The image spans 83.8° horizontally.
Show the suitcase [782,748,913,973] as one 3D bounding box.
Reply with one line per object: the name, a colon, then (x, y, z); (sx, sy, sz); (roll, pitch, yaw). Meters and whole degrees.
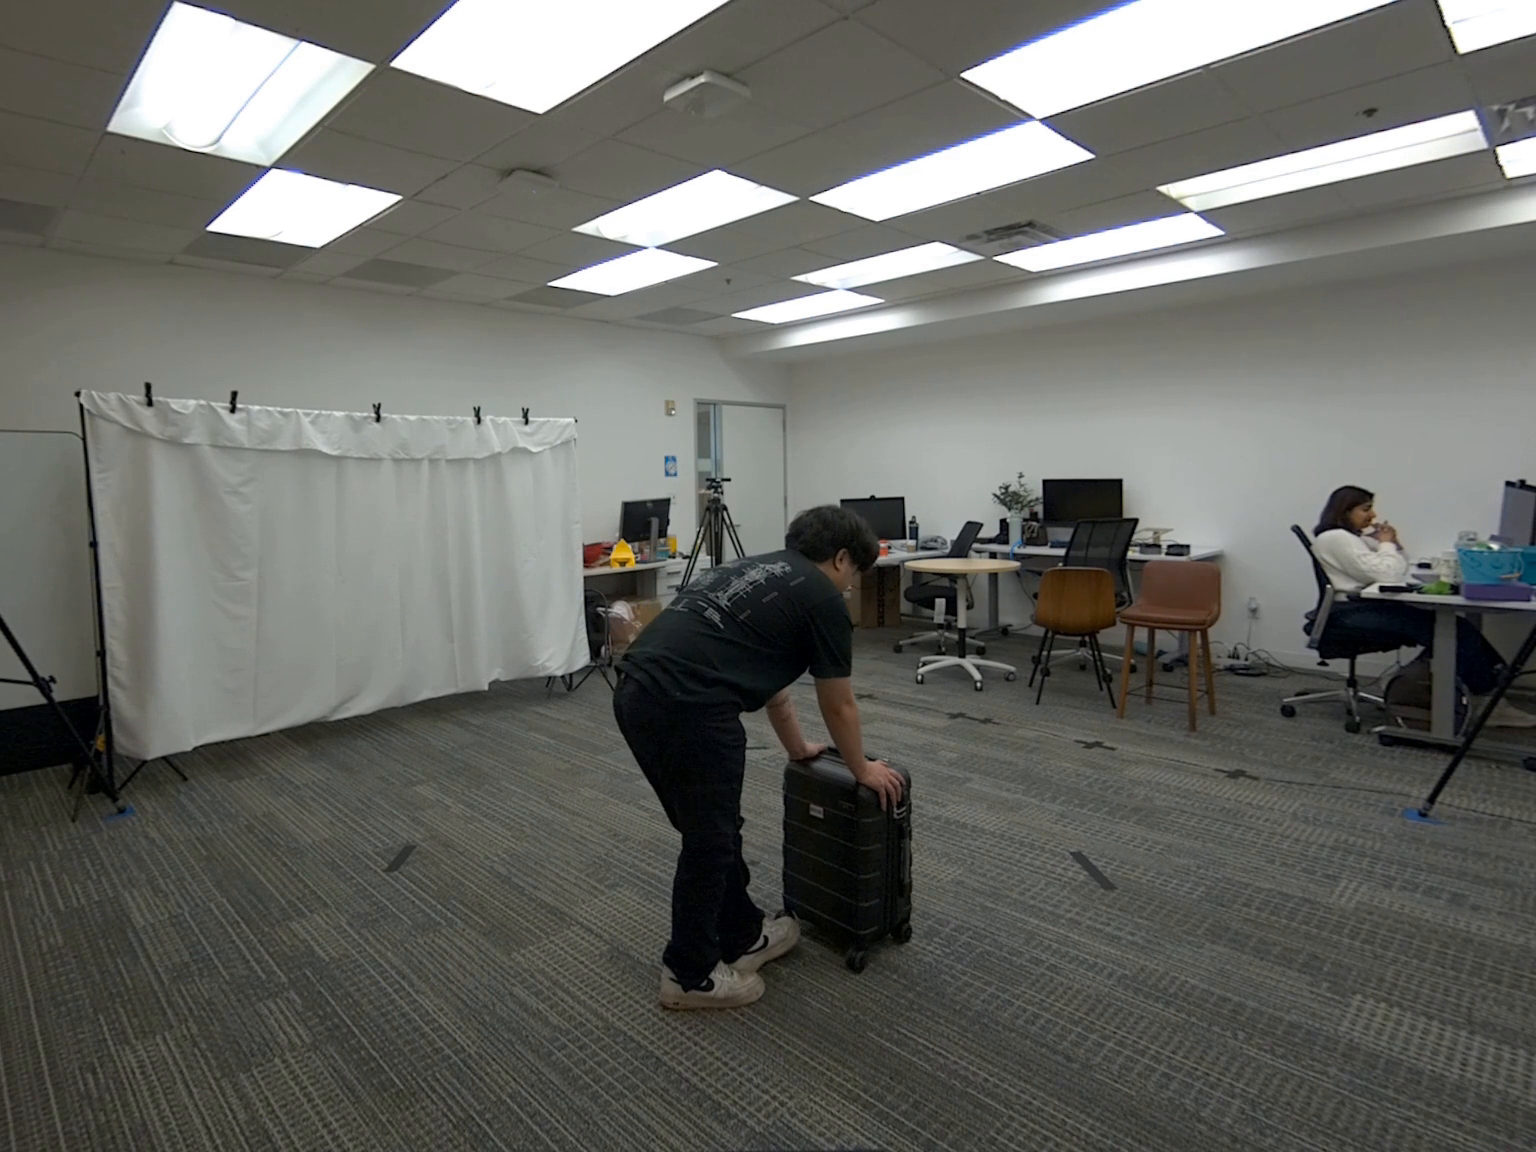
suitcase: (0.244, 0.823, 2.606); (0.241, 0.548, 0.387); (-3, 4, -44)
